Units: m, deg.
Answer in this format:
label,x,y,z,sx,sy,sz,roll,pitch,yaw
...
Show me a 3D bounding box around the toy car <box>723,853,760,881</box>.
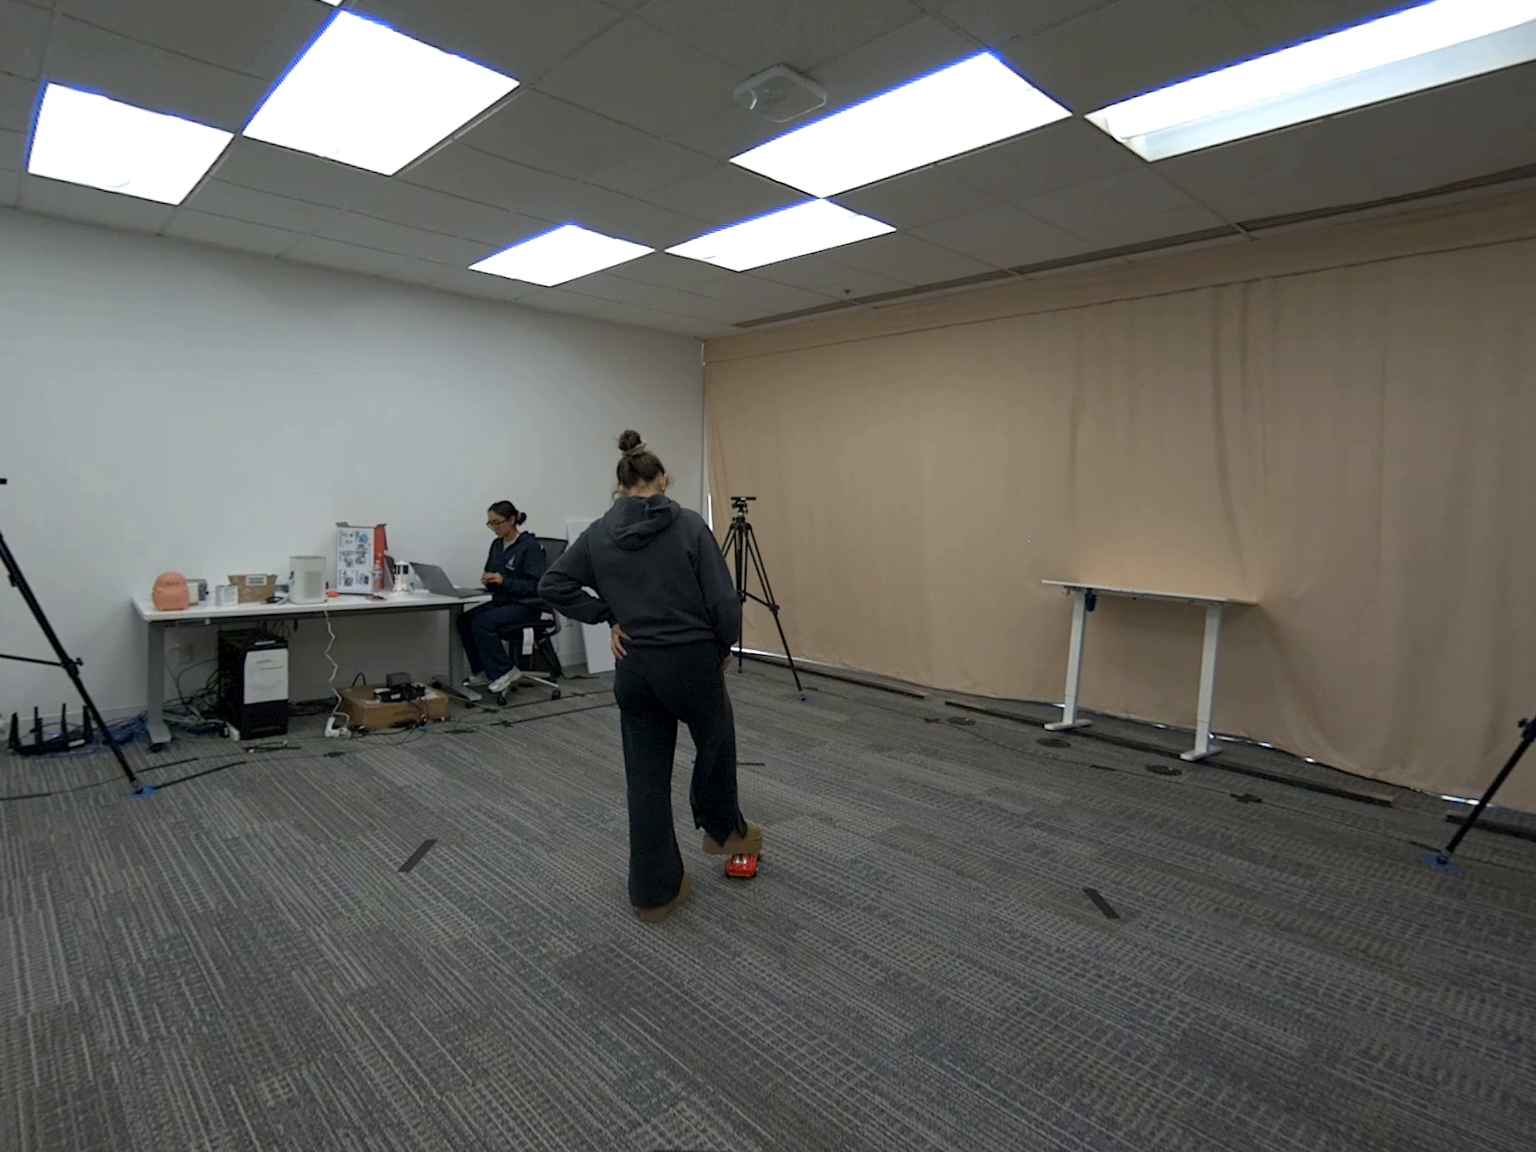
label,x,y,z,sx,sy,sz,roll,pitch,yaw
toy car,-0.102,1.072,3.169,0.131,0.083,0.252,2,-6,5
